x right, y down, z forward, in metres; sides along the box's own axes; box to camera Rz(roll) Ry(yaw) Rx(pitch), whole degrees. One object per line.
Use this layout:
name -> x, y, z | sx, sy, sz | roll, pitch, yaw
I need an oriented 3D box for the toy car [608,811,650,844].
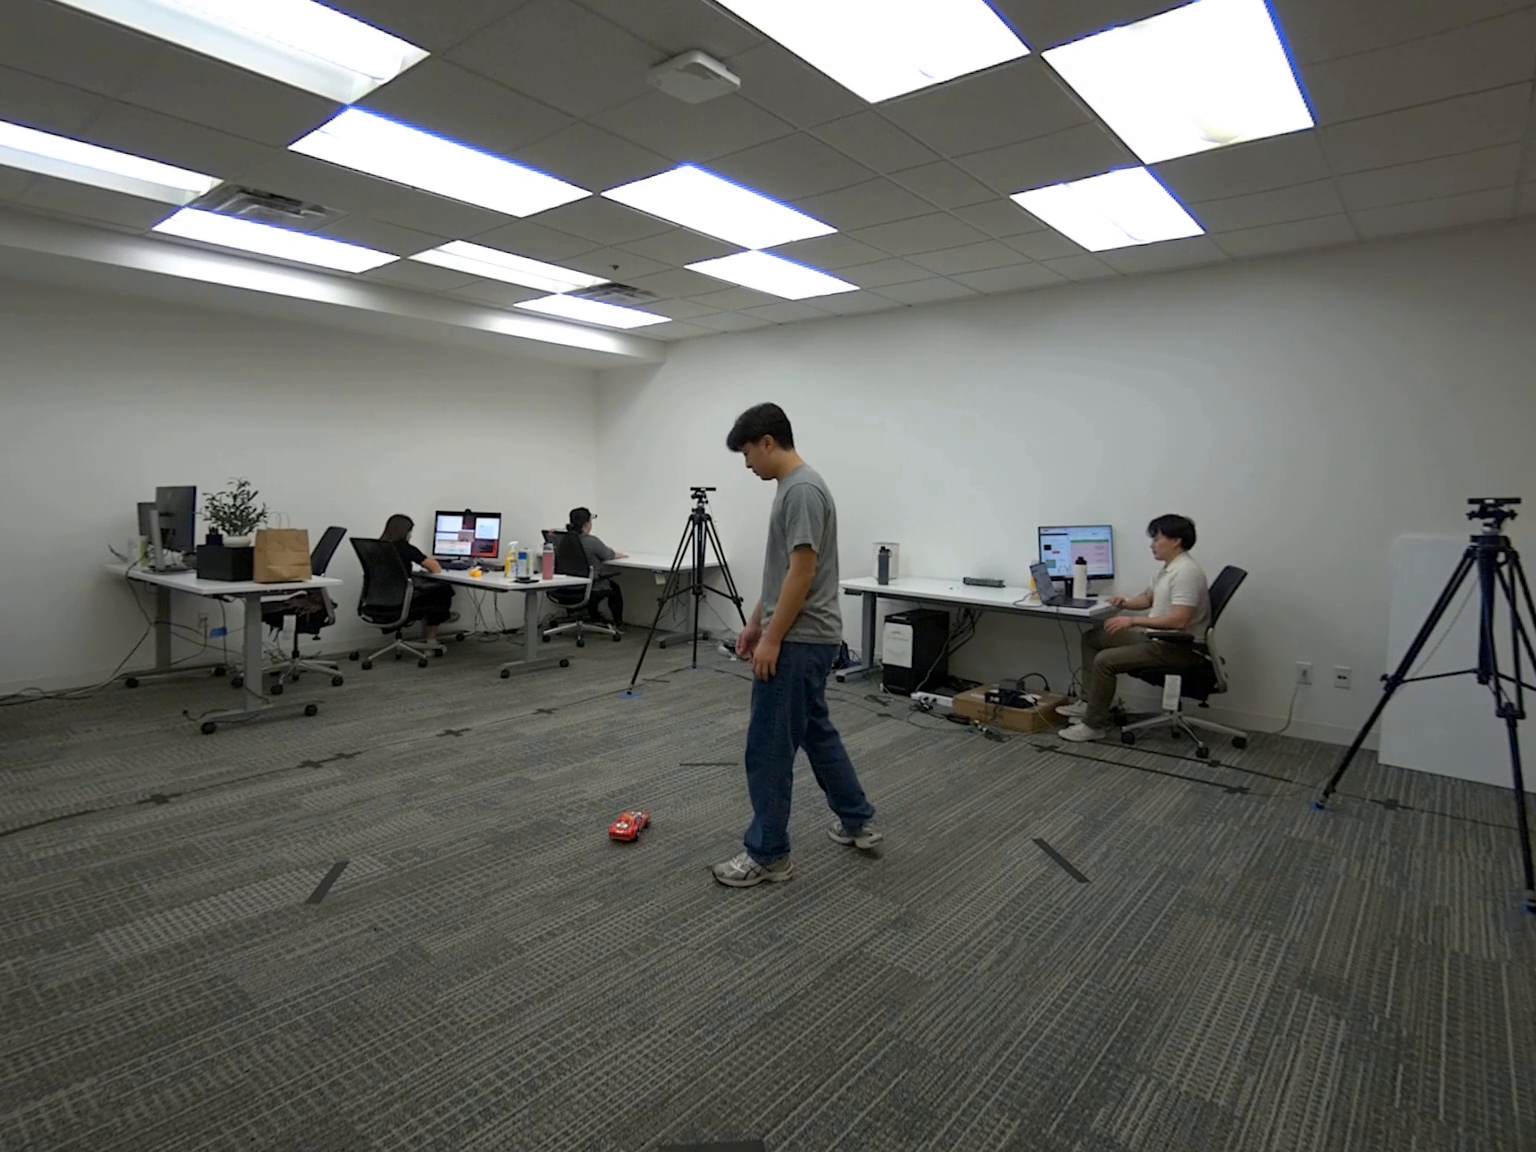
toy car -> -0.574, 1.002, 3.406 | 0.132, 0.084, 0.249 | 2, -5, 13
